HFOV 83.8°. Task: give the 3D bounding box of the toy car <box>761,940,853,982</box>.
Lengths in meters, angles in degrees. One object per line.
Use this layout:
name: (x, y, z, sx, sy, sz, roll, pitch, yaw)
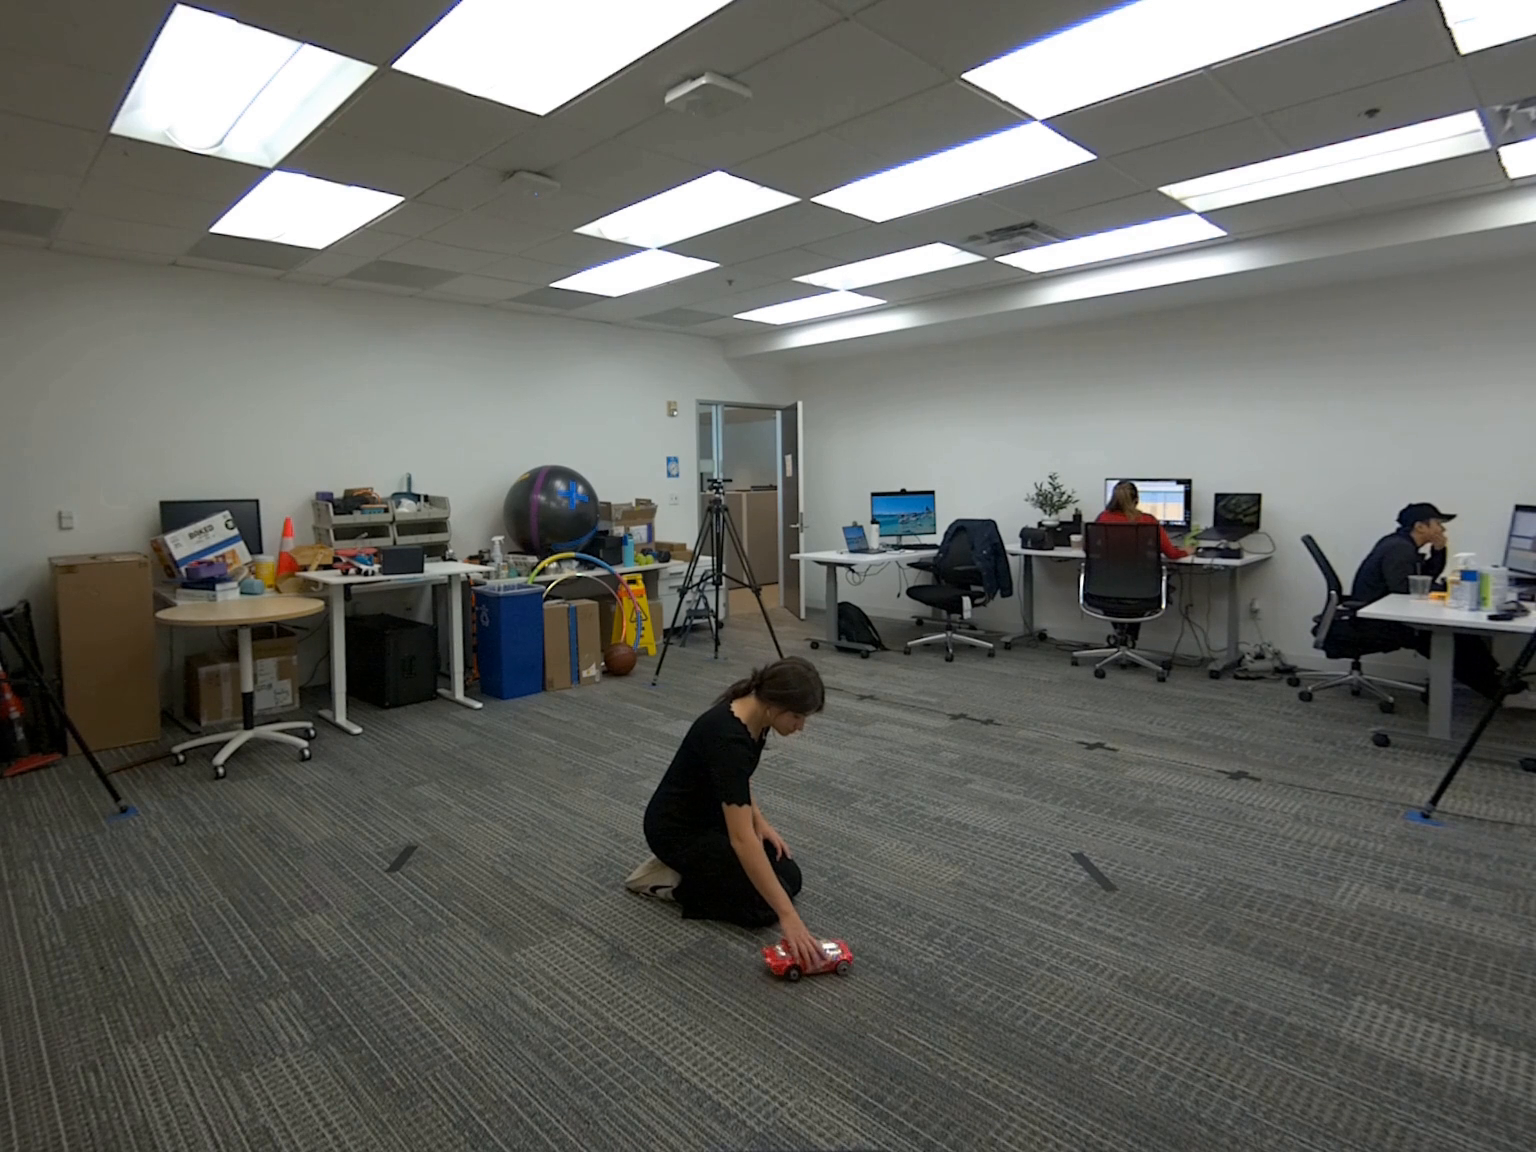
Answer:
toy car: (0.113, 1.091, 2.434, 0.251, 0.083, 0.132, 8, 3, -12)
